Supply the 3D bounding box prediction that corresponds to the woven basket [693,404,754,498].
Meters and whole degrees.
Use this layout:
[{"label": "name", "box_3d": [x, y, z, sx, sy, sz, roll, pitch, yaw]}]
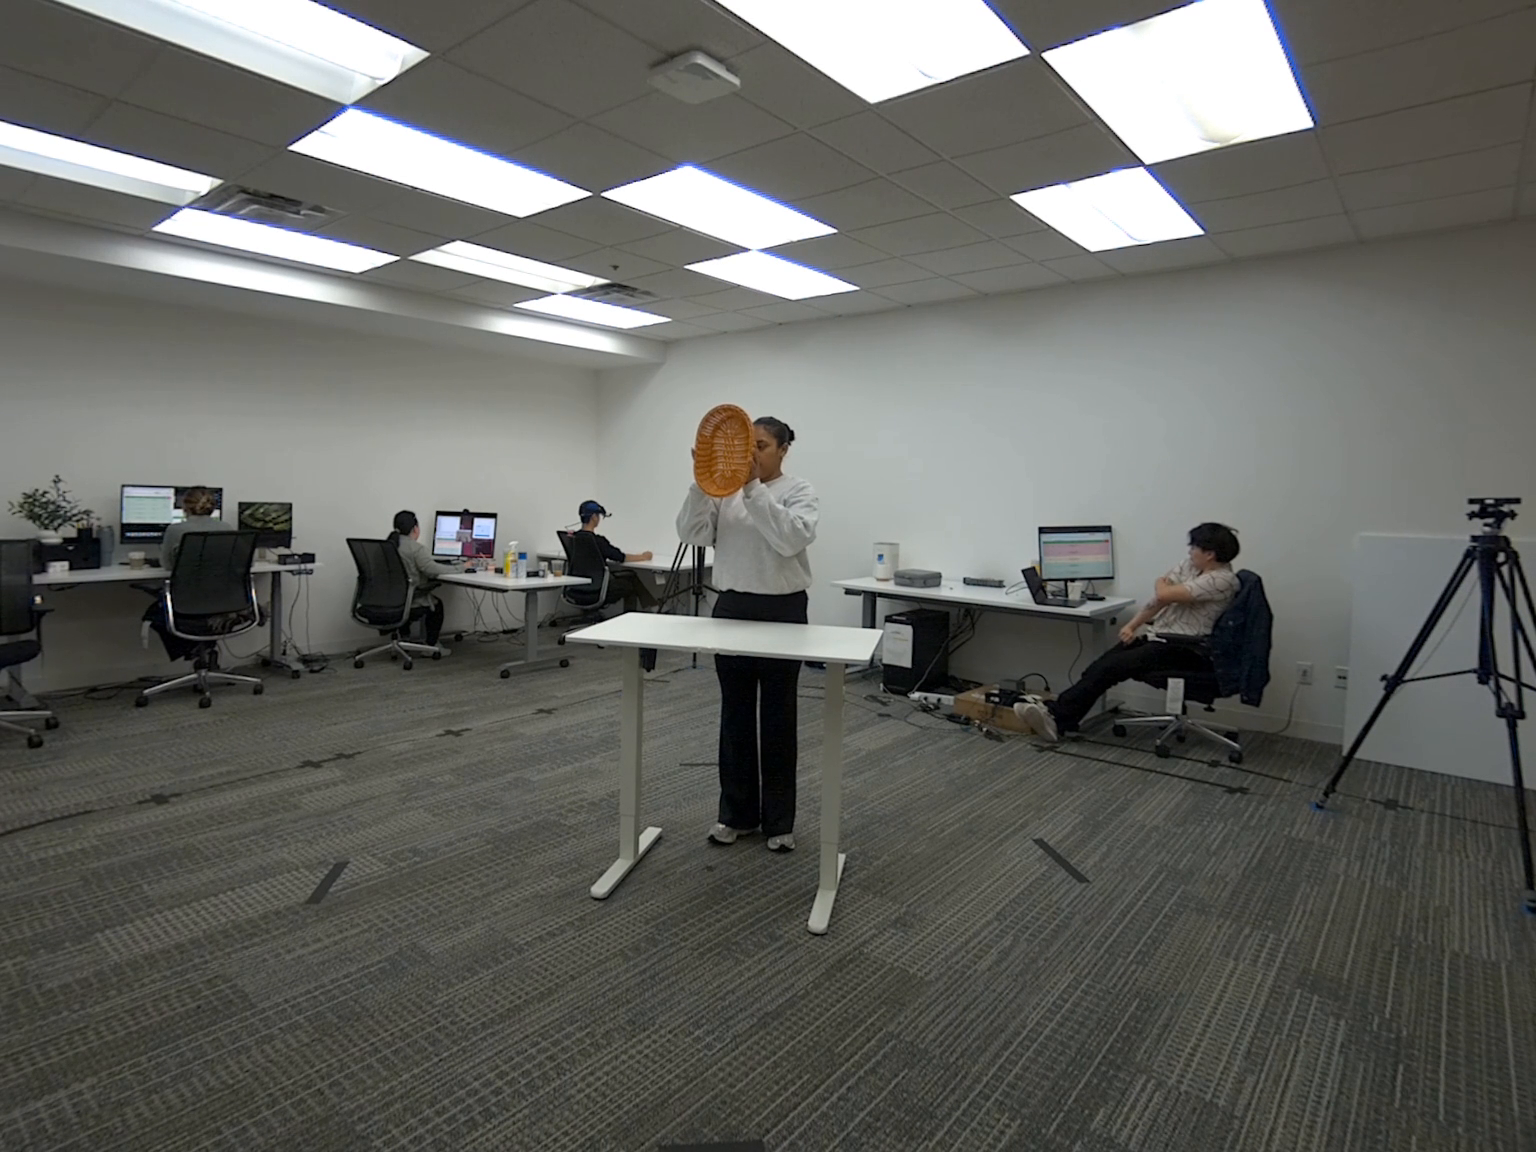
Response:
[{"label": "woven basket", "box_3d": [-0.160, -0.458, 3.142, 0.260, 0.350, 0.071, 9, 1, 31]}]
